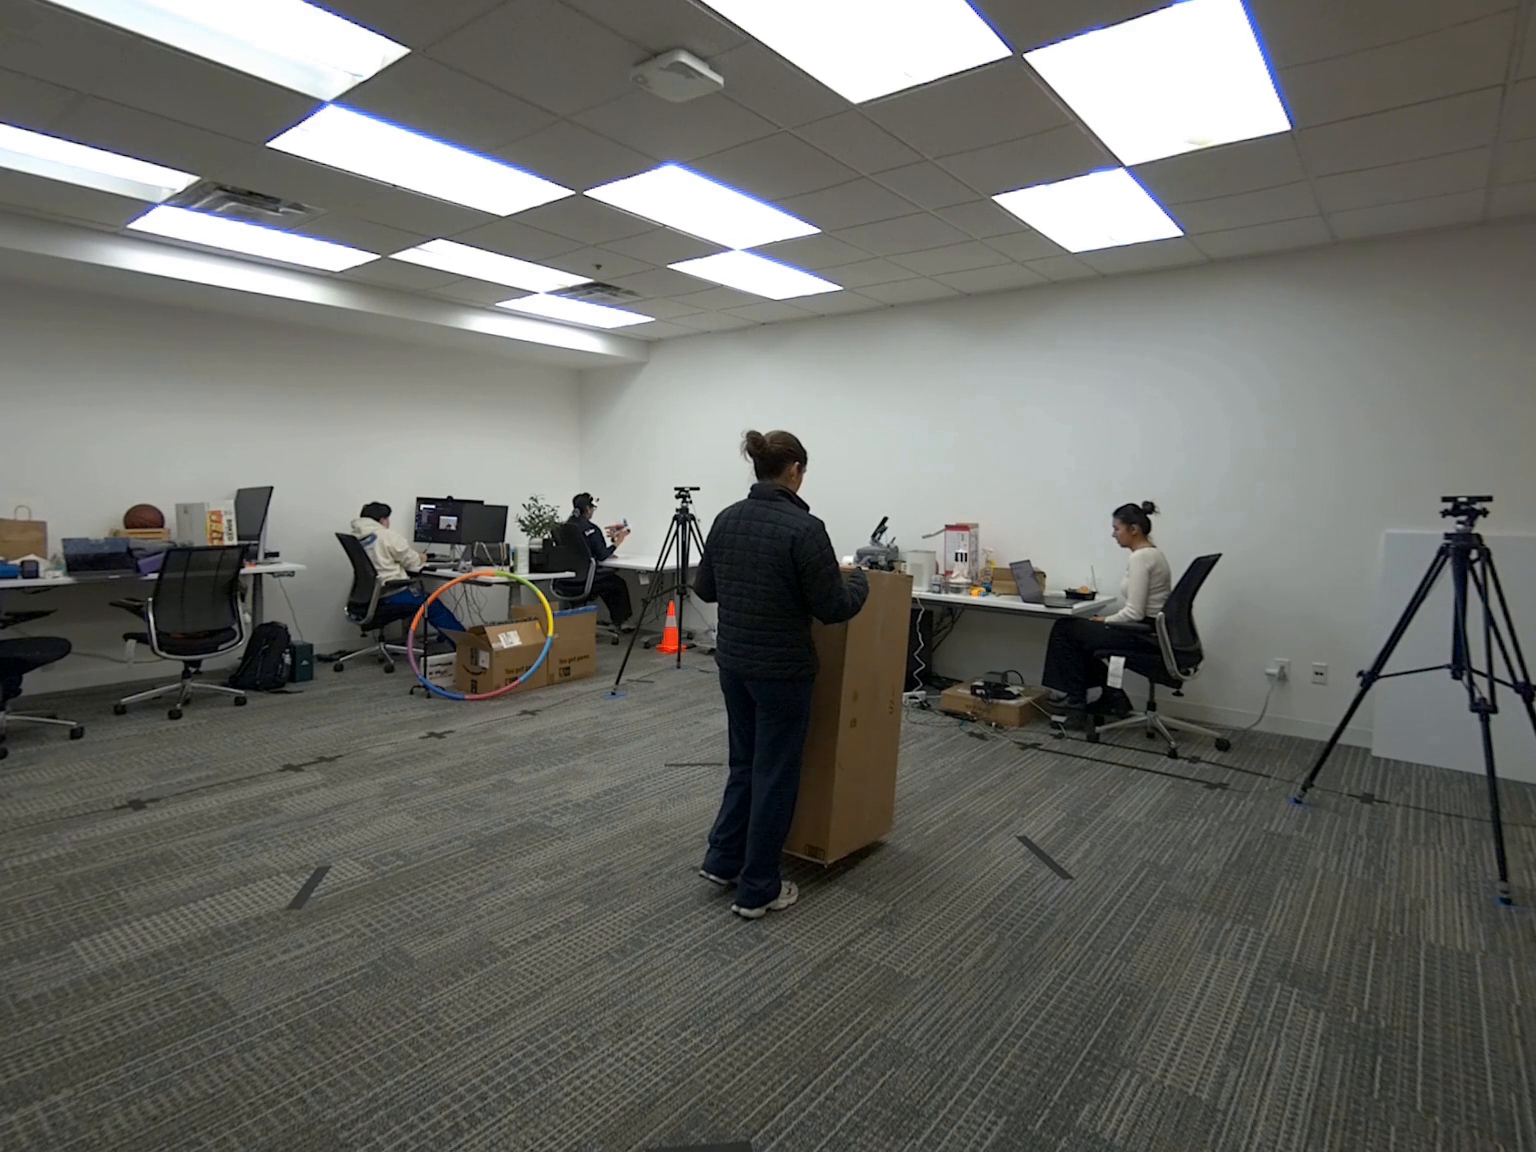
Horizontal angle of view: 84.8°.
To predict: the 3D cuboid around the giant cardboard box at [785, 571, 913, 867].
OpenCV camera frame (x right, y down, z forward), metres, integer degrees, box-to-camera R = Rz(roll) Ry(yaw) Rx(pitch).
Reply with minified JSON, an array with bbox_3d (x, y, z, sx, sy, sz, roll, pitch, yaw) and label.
[{"bbox_3d":[0.234,0.477,3.288,0.440,1.028,0.558,4,-2,34],"label":"giant cardboard box"}]
